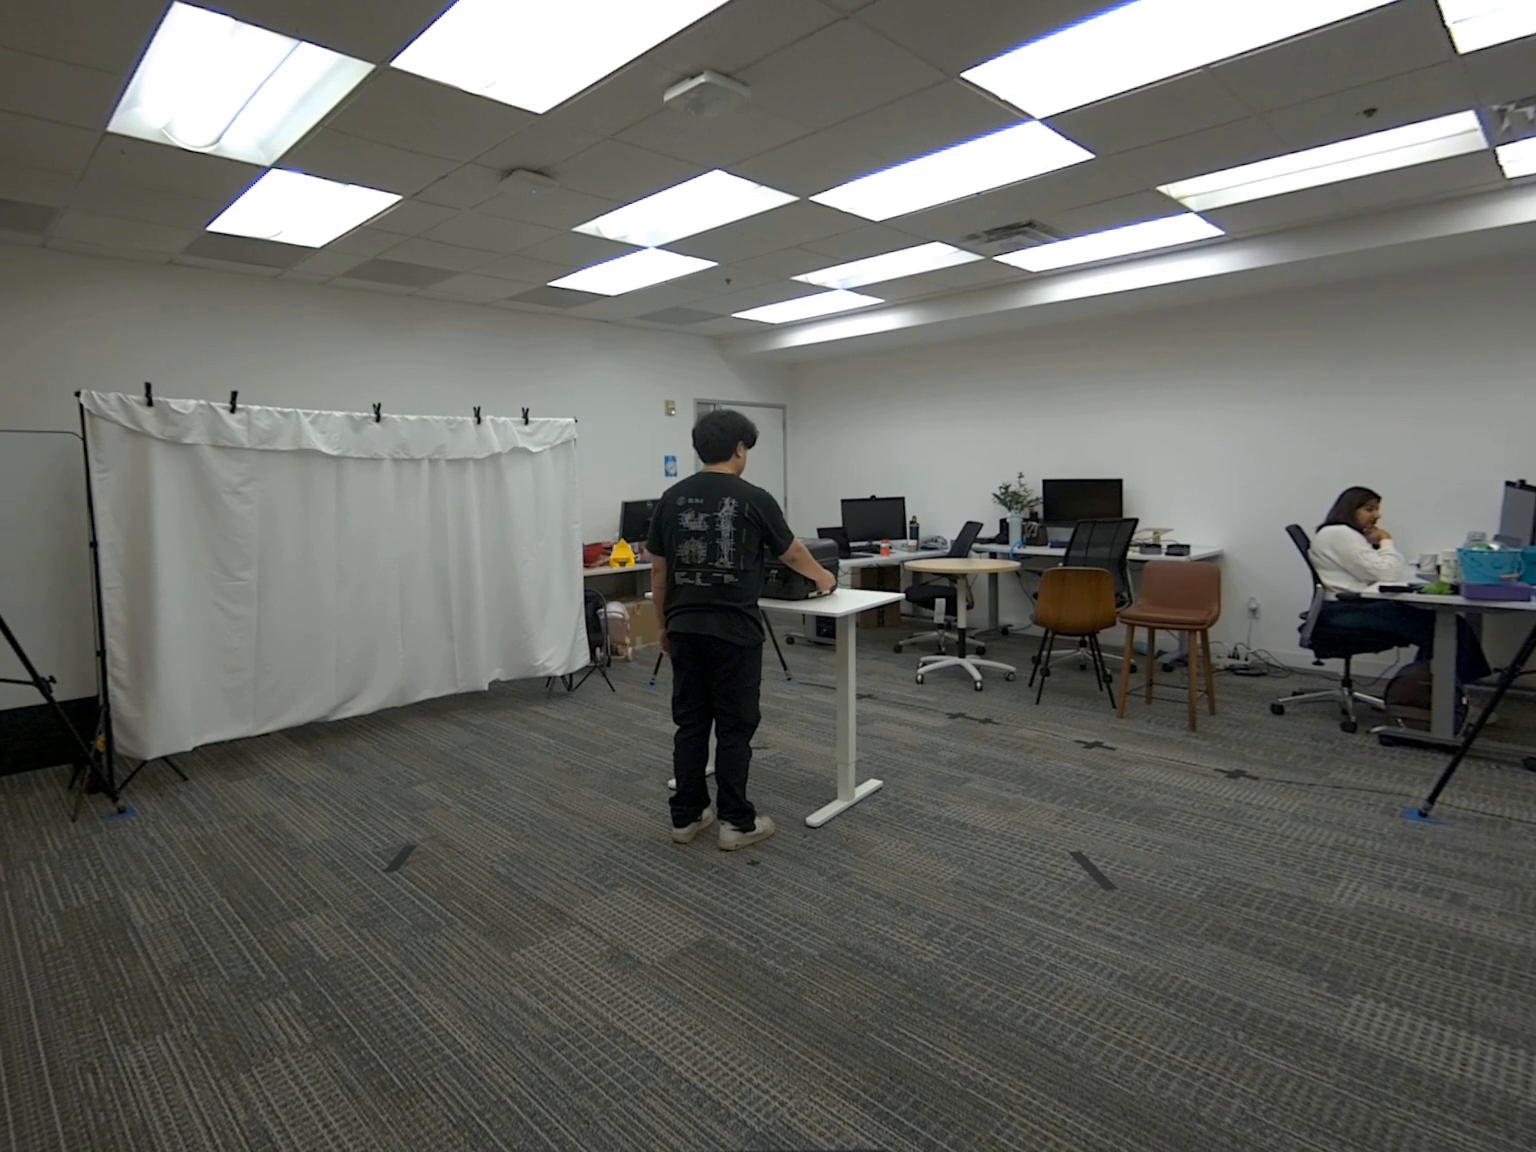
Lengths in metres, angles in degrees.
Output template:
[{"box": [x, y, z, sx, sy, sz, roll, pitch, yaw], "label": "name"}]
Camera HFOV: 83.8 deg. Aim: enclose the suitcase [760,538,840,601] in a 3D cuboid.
[{"box": [0.035, -0.041, 3.833, 0.566, 0.247, 0.365, 4, 7, 43], "label": "suitcase"}]
